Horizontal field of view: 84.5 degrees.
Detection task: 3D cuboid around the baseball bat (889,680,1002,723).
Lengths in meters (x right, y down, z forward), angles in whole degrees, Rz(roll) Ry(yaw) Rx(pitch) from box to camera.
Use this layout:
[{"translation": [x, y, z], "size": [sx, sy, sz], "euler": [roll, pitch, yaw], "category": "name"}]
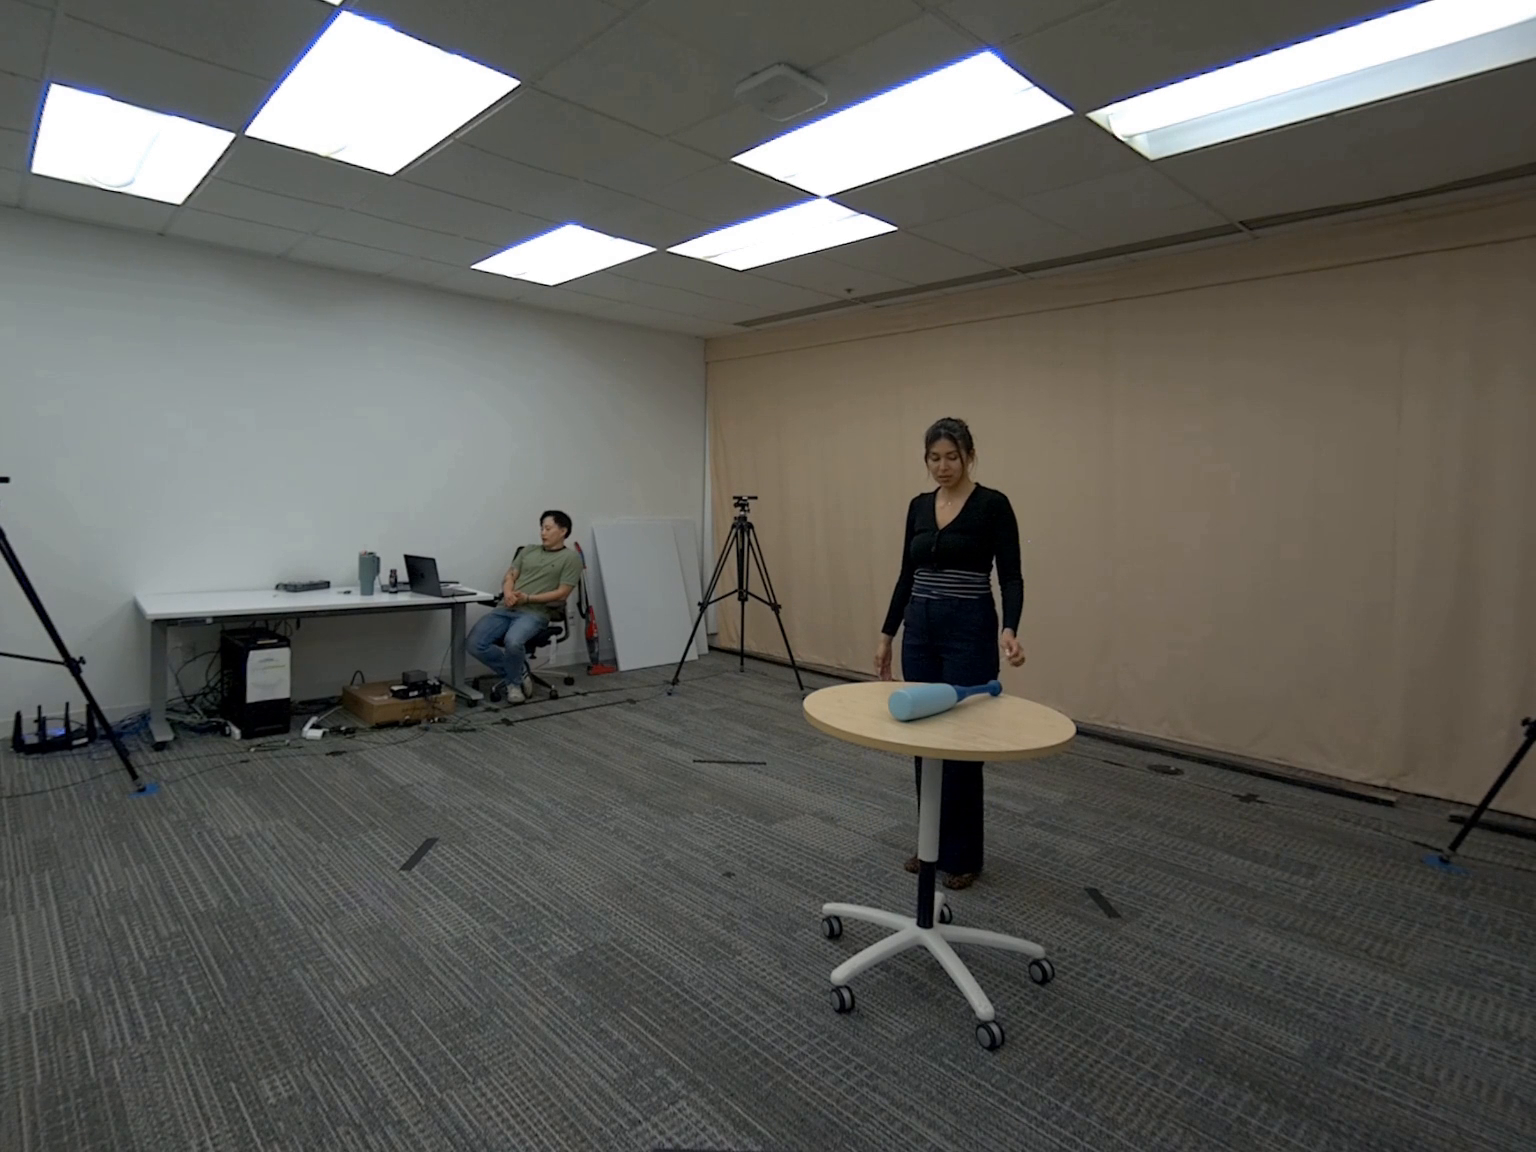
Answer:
[{"translation": [0.543, 0.358, 2.494], "size": [0.091, 0.089, 0.530], "euler": [6, 3, 44], "category": "baseball bat"}]
